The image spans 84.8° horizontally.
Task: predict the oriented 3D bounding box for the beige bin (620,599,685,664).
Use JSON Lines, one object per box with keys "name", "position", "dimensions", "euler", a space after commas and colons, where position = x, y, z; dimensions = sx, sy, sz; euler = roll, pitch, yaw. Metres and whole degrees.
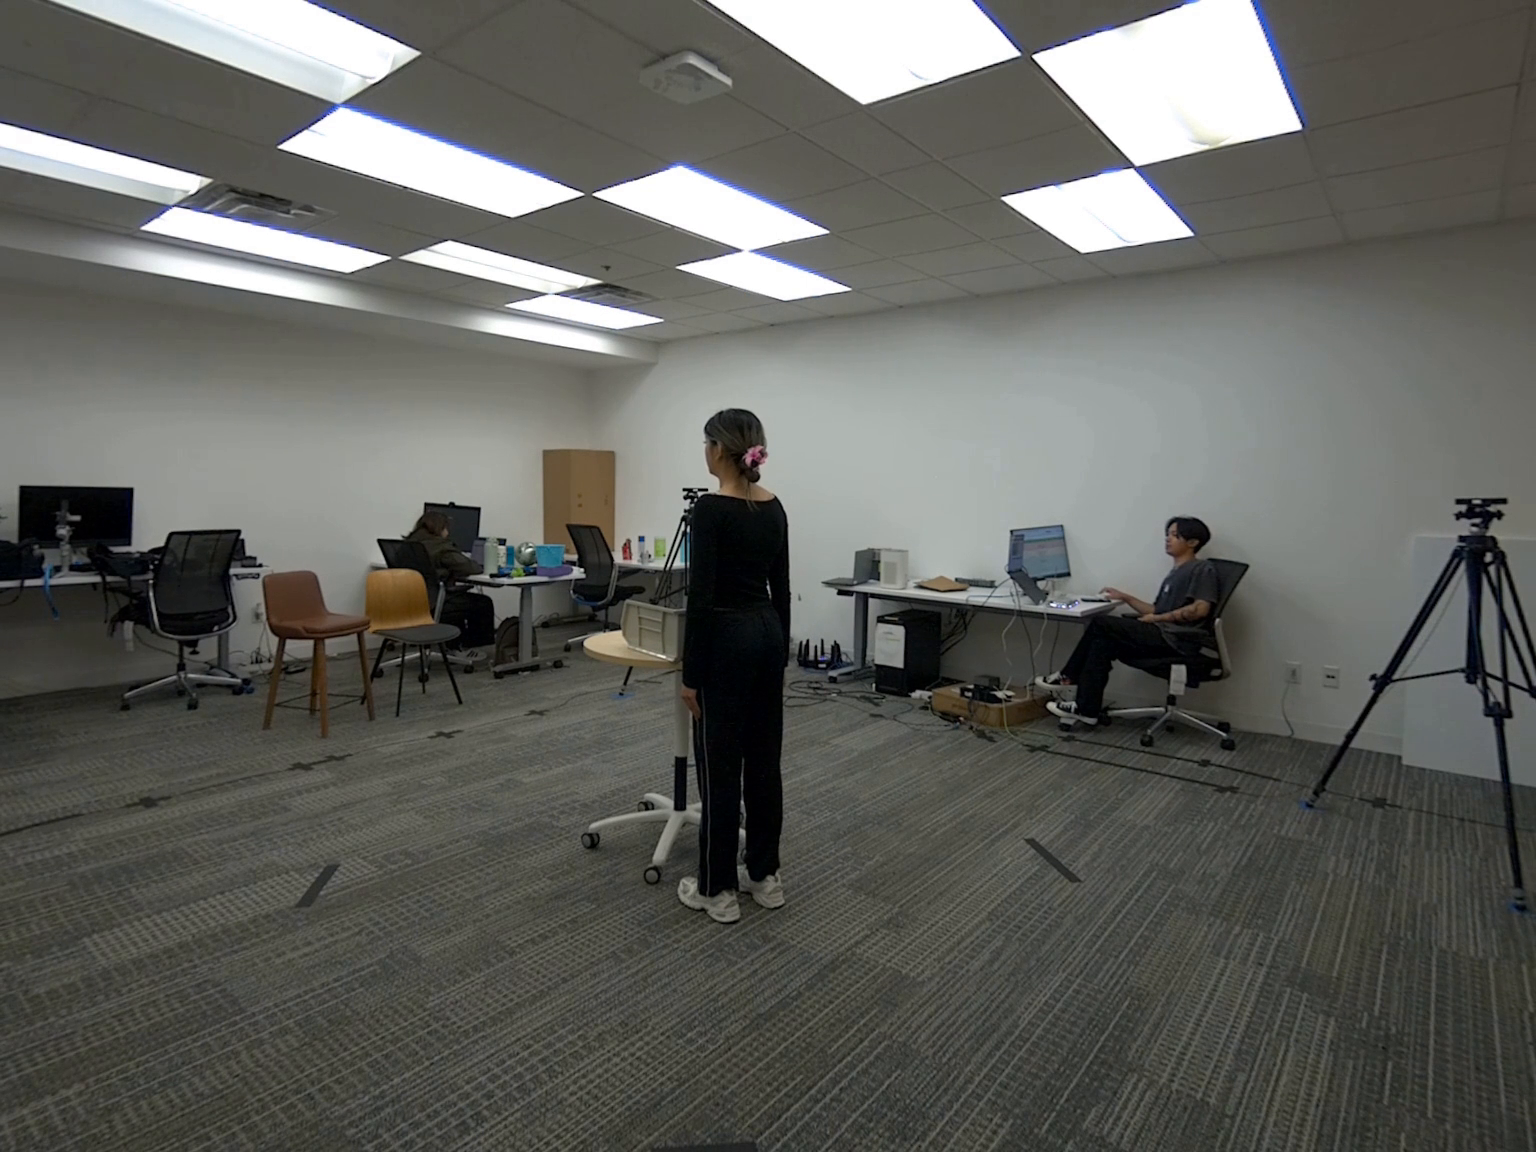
{"name": "beige bin", "position": [-0.283, 0.180, 3.152], "dimensions": [0.410, 0.188, 0.390], "euler": [-2, 7, -38]}
